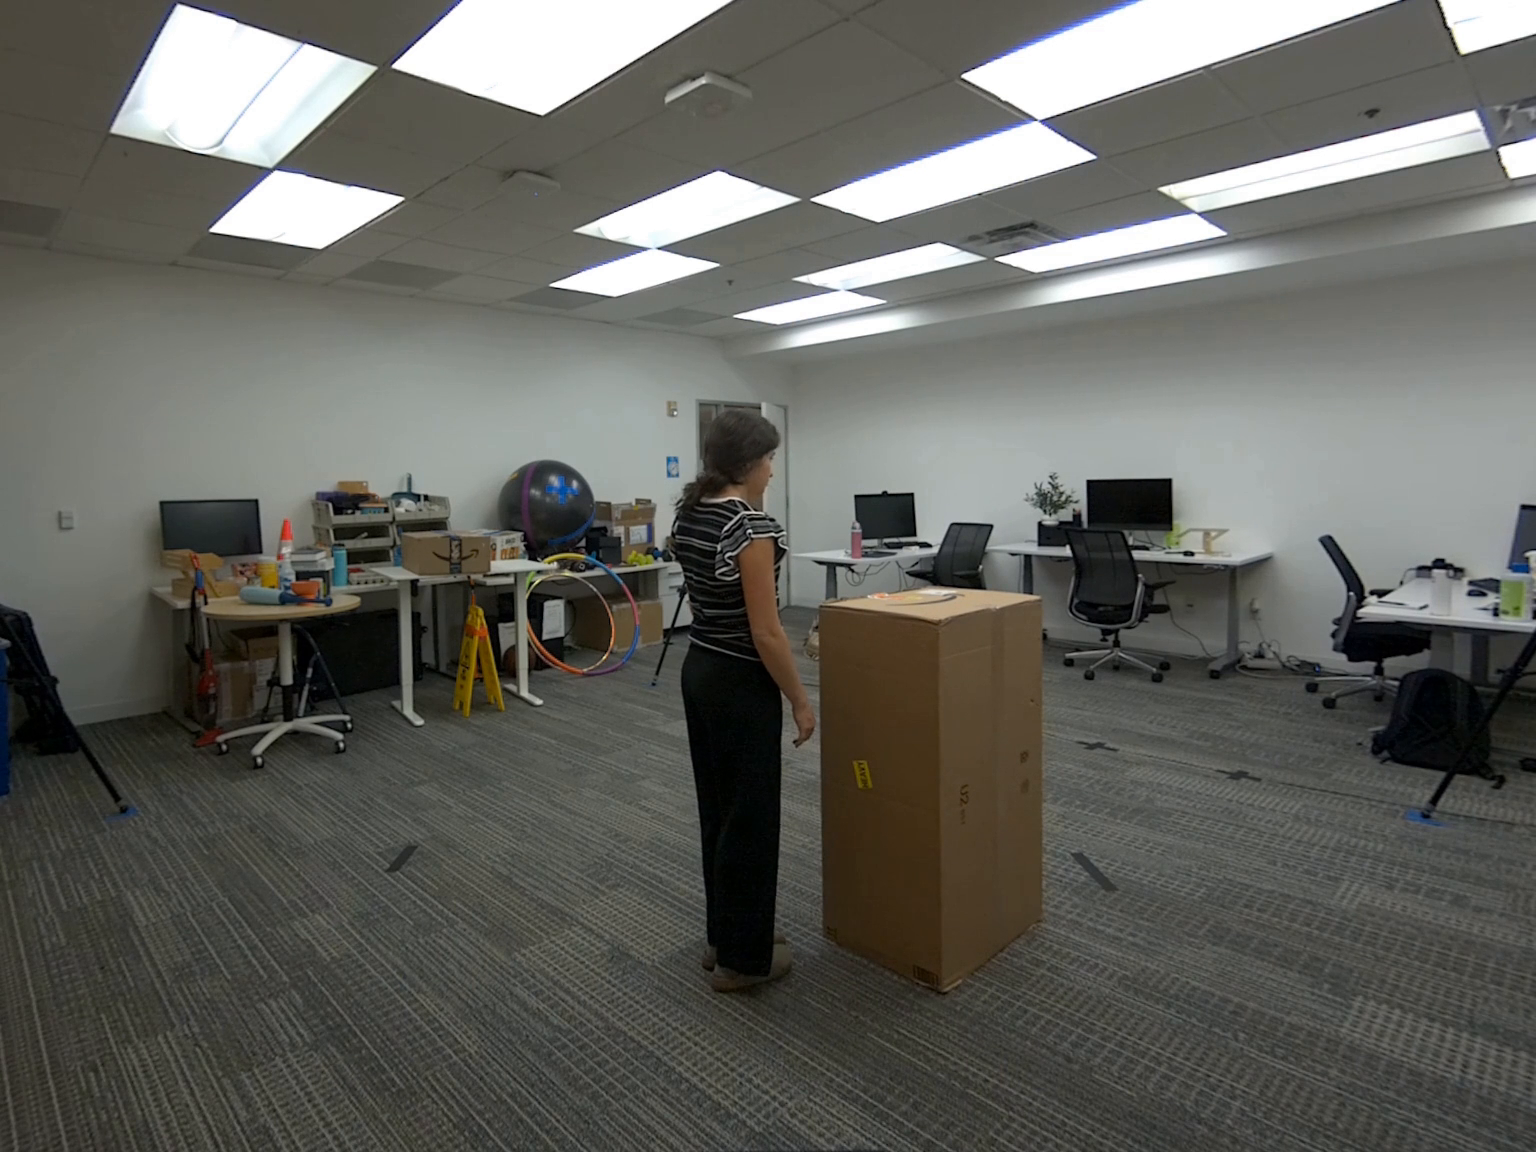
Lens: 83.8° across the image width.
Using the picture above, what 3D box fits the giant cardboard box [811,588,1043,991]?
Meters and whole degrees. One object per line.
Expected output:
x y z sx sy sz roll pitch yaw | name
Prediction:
0.511 0.587 2.617 0.562 1.022 0.439 -4 5 -44 | giant cardboard box
